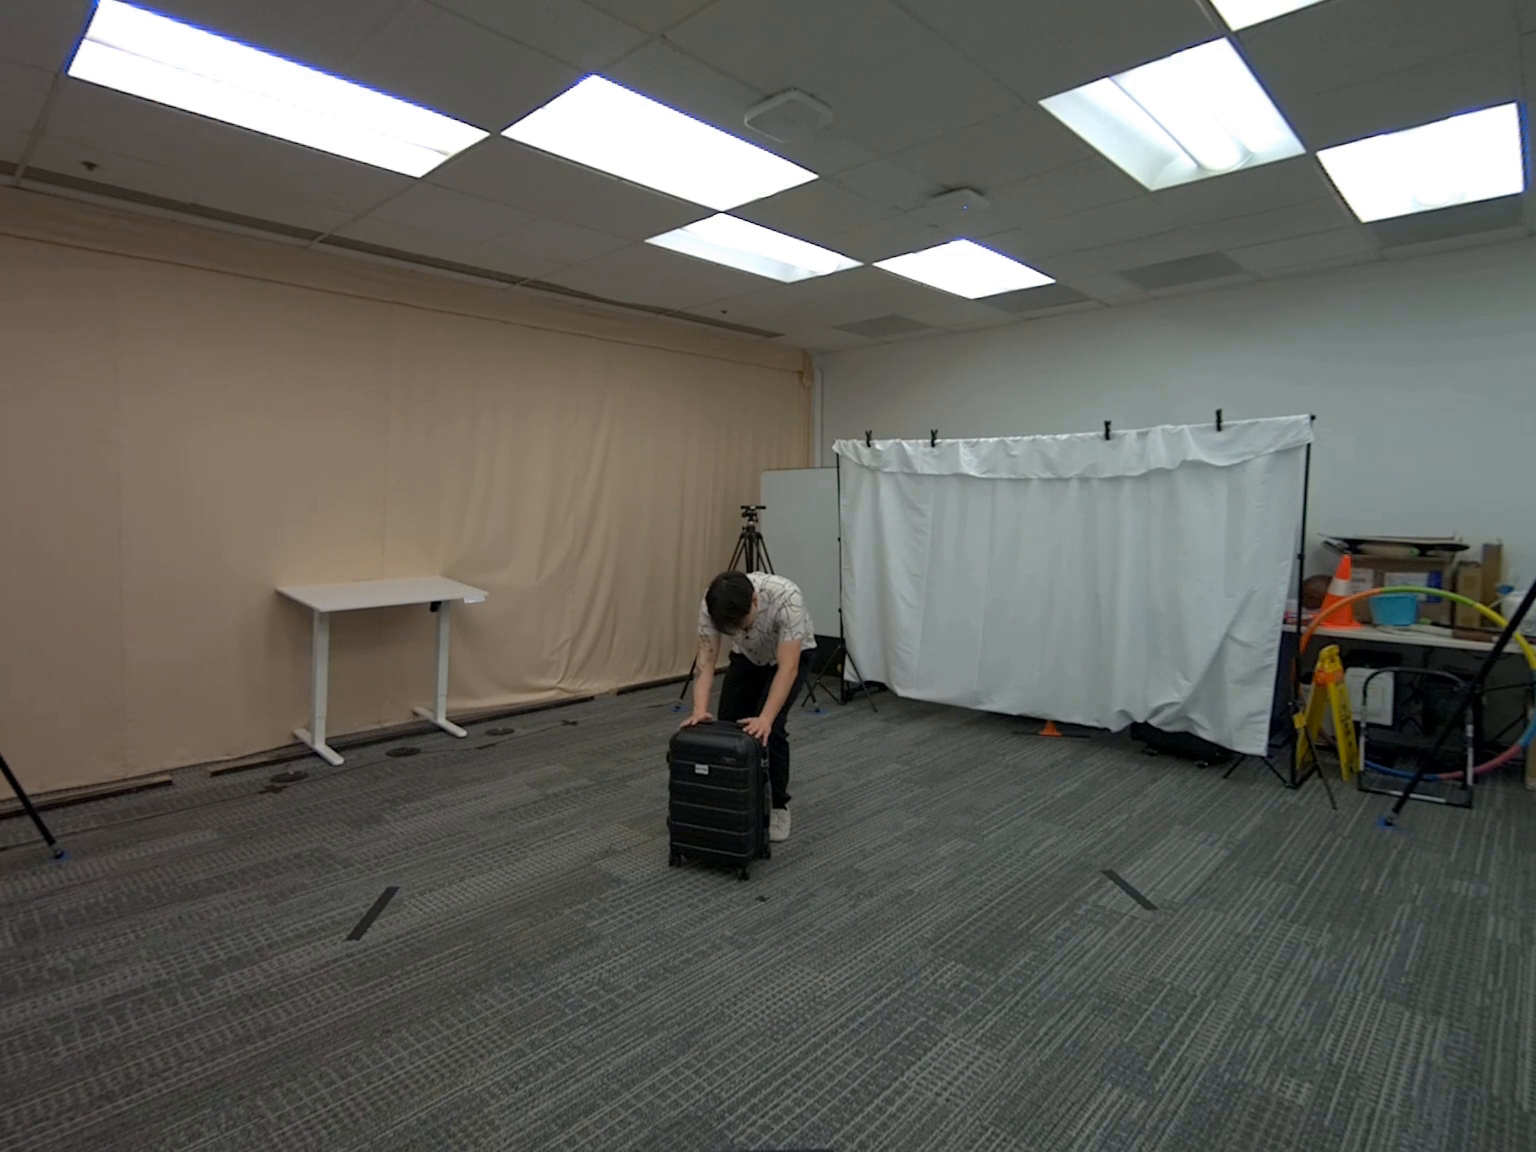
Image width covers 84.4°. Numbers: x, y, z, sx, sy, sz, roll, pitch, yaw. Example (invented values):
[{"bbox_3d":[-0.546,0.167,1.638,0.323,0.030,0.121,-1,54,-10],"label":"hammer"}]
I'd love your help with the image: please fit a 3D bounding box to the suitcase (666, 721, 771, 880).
[{"bbox_3d":[-0.187,0.844,3.265,0.385,0.547,0.243,2,6,25],"label":"suitcase"}]
